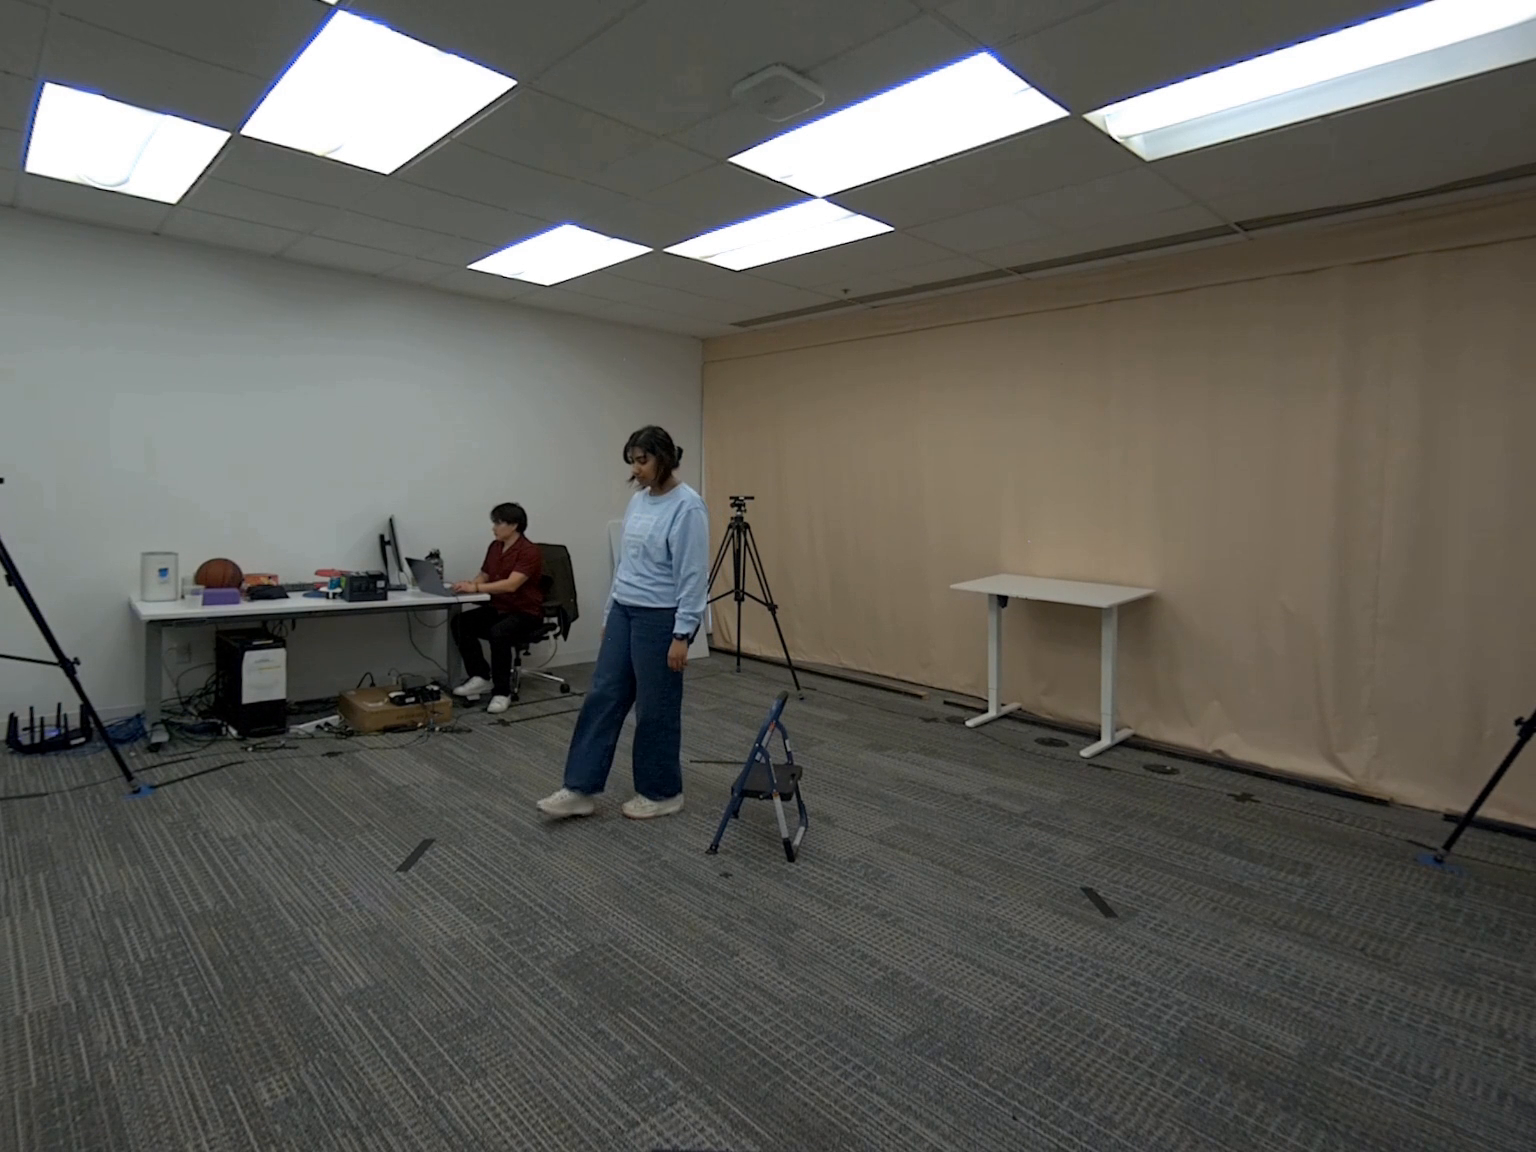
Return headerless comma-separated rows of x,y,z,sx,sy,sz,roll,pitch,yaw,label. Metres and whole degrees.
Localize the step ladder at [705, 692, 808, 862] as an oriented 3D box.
-0.029,0.777,3.439,0.353,0.605,0.427,2,3,11,step ladder
